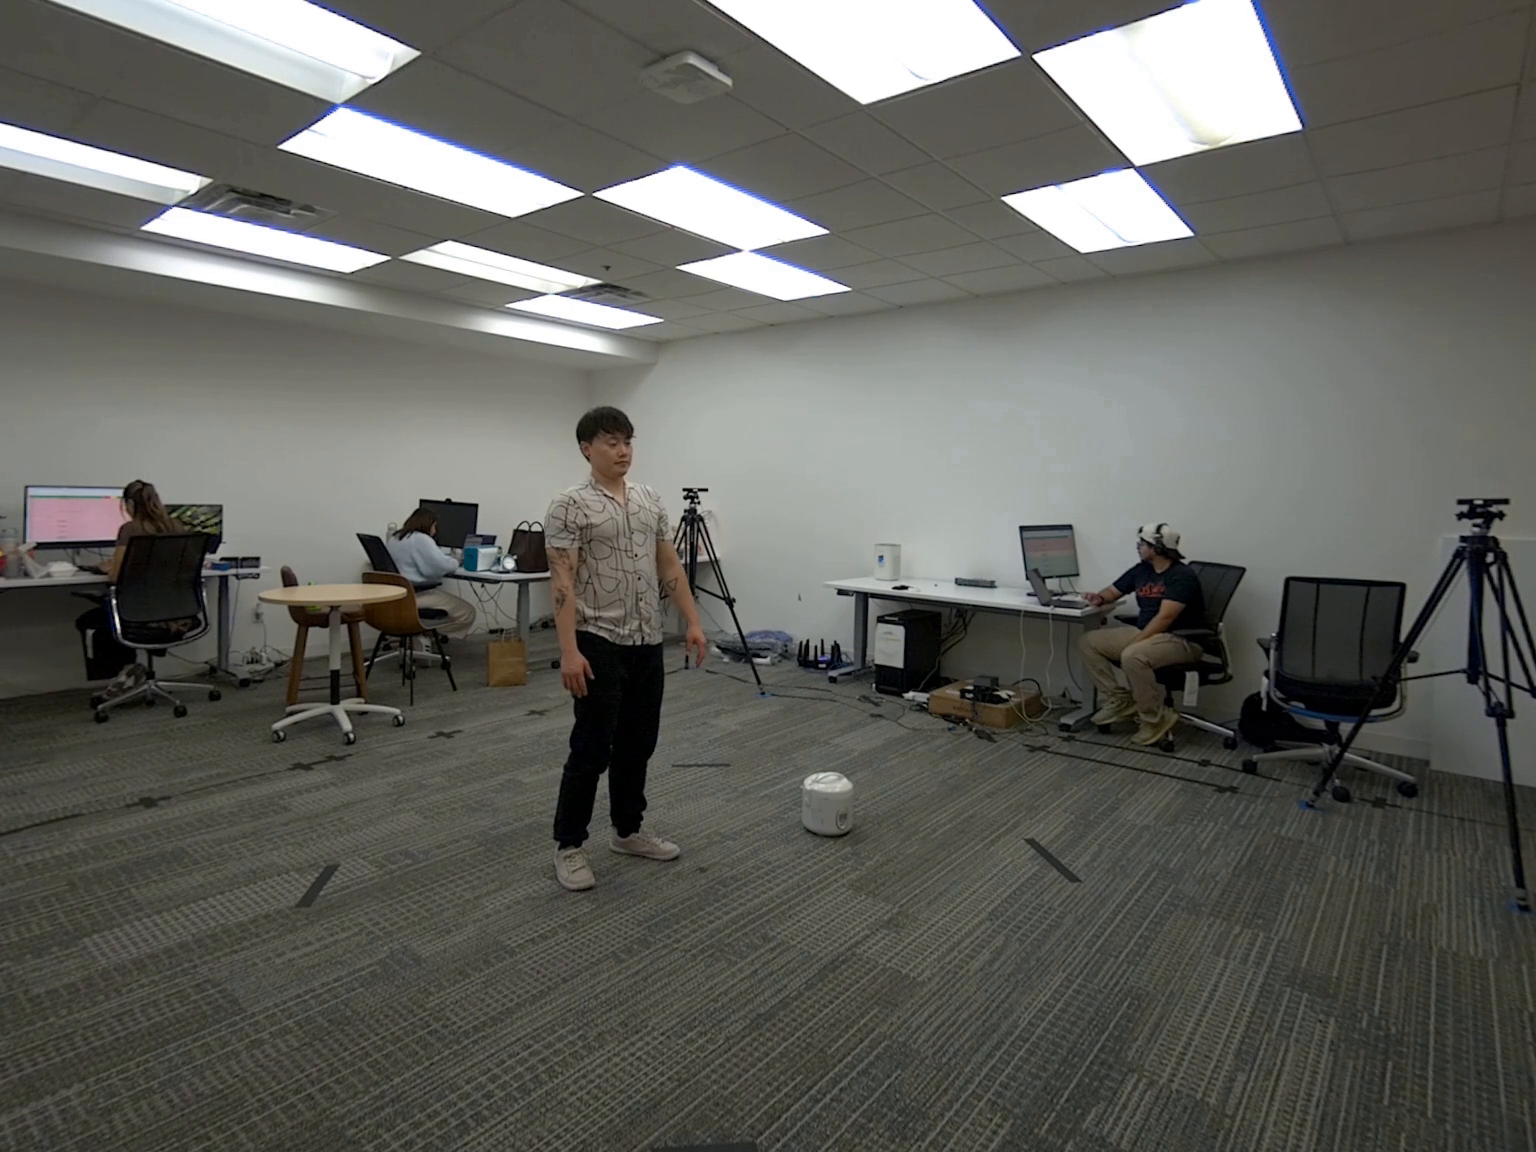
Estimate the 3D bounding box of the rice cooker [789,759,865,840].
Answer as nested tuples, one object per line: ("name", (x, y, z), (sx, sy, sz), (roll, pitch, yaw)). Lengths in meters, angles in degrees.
("rice cooker", (0.241, 0.921, 3.496), (0.215, 0.232, 0.224), (-1, 3, -29))
